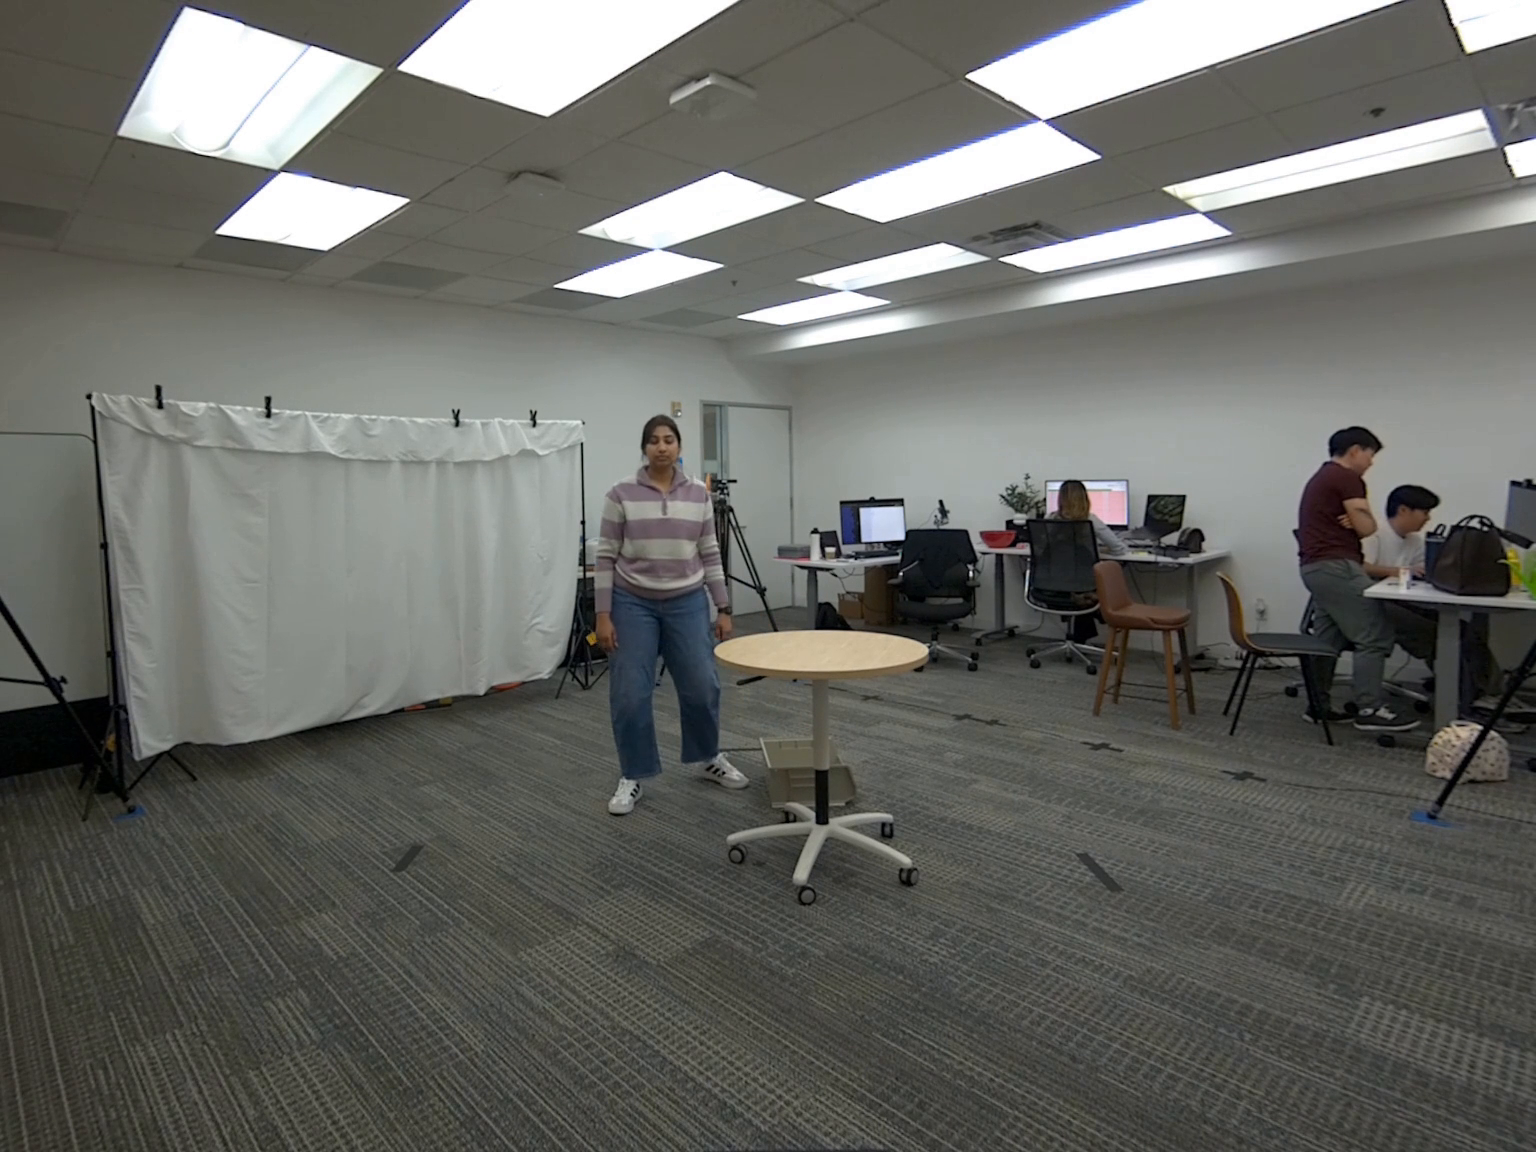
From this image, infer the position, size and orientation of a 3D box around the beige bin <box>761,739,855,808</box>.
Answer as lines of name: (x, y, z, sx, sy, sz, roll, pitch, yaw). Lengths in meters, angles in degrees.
beige bin: (0.173, 0.873, 3.837, 0.376, 0.188, 0.426, -2, 6, -4)
